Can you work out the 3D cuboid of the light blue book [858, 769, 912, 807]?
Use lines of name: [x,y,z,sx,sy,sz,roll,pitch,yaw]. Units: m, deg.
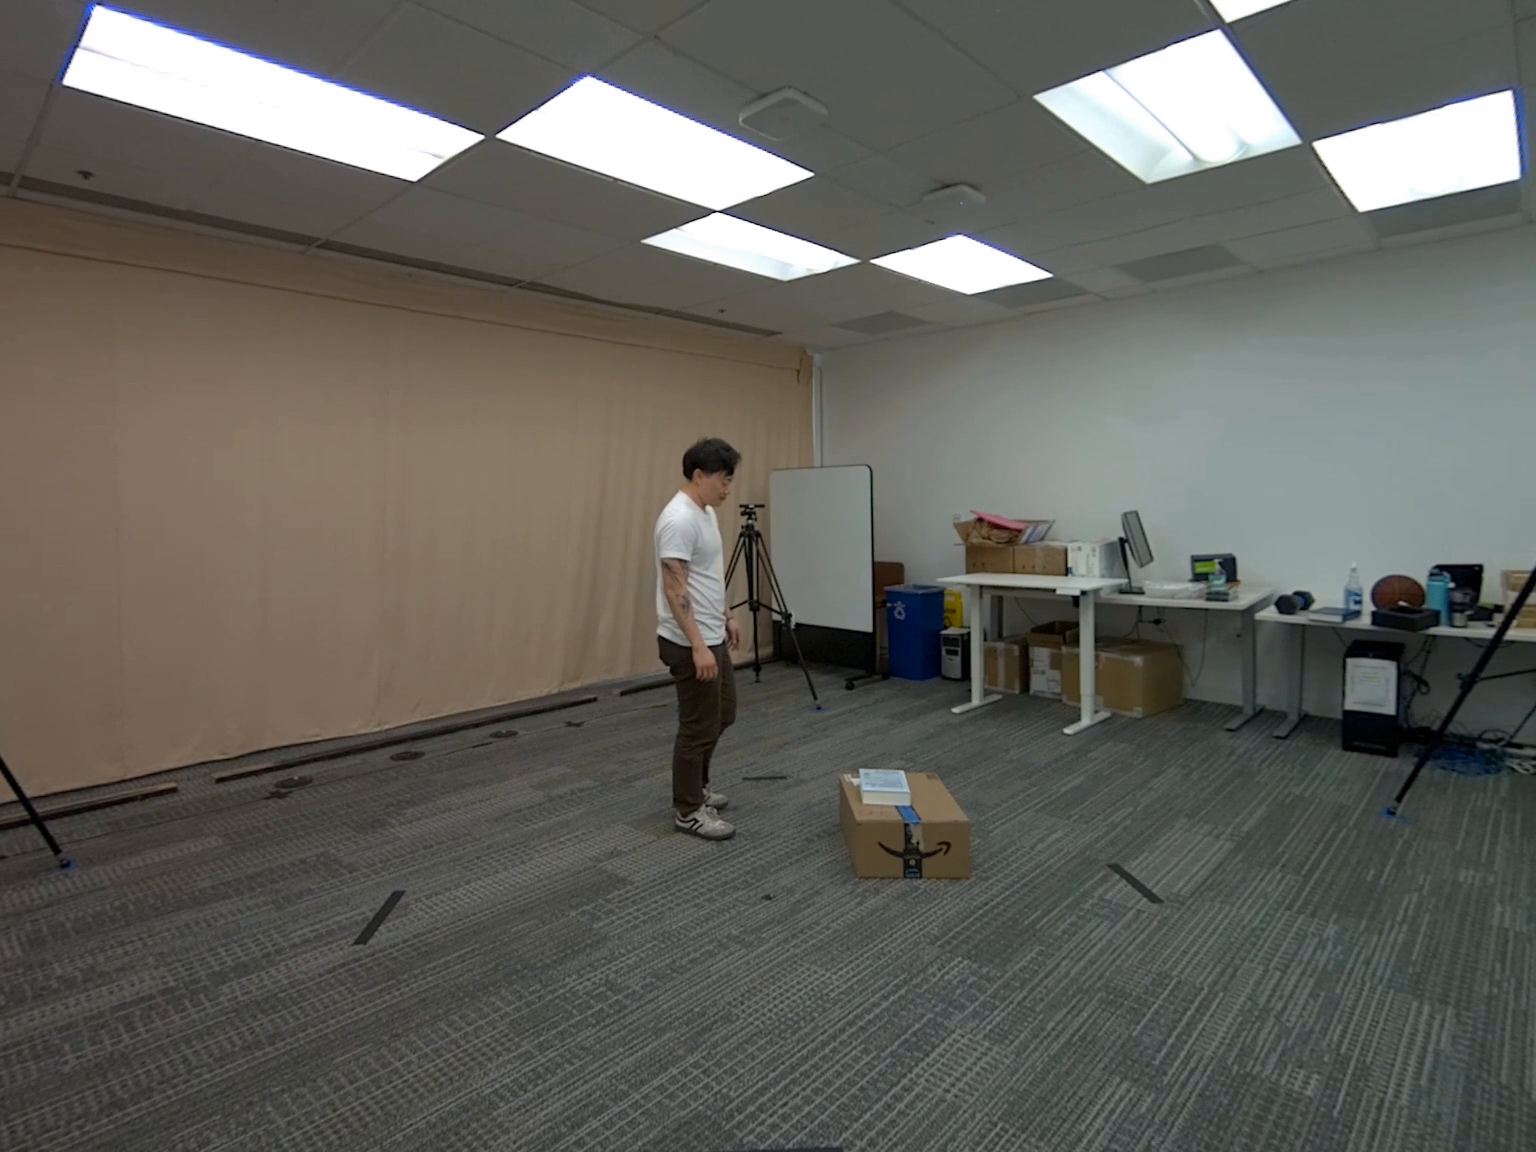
light blue book: [0.478,0.856,3.427,0.192,0.059,0.260,0,5,4]
